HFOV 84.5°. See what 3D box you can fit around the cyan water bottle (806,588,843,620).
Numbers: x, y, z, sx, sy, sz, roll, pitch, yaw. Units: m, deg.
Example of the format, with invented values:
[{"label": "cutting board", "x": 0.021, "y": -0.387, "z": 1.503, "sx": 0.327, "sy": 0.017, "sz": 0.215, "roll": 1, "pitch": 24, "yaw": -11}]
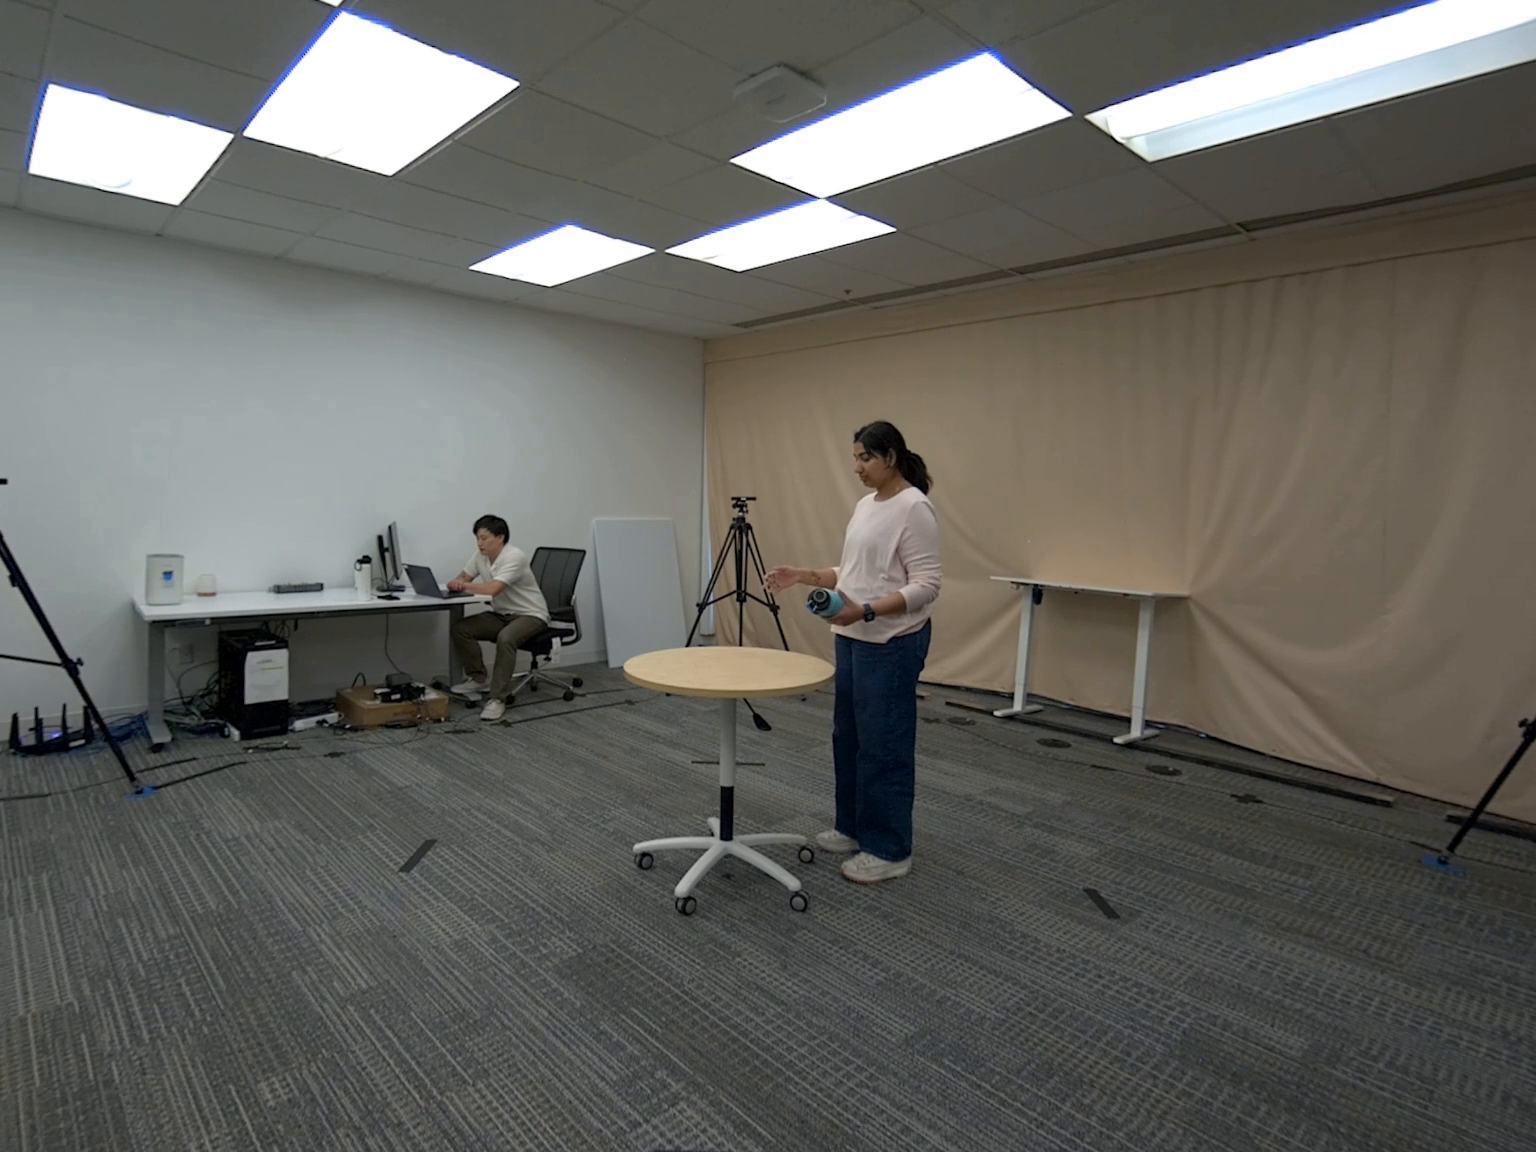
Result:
[{"label": "cyan water bottle", "x": 0.206, "y": 0.100, "z": 2.911, "sx": 0.094, "sy": 0.093, "sz": 0.276, "roll": 4, "pitch": -7, "yaw": 29}]
